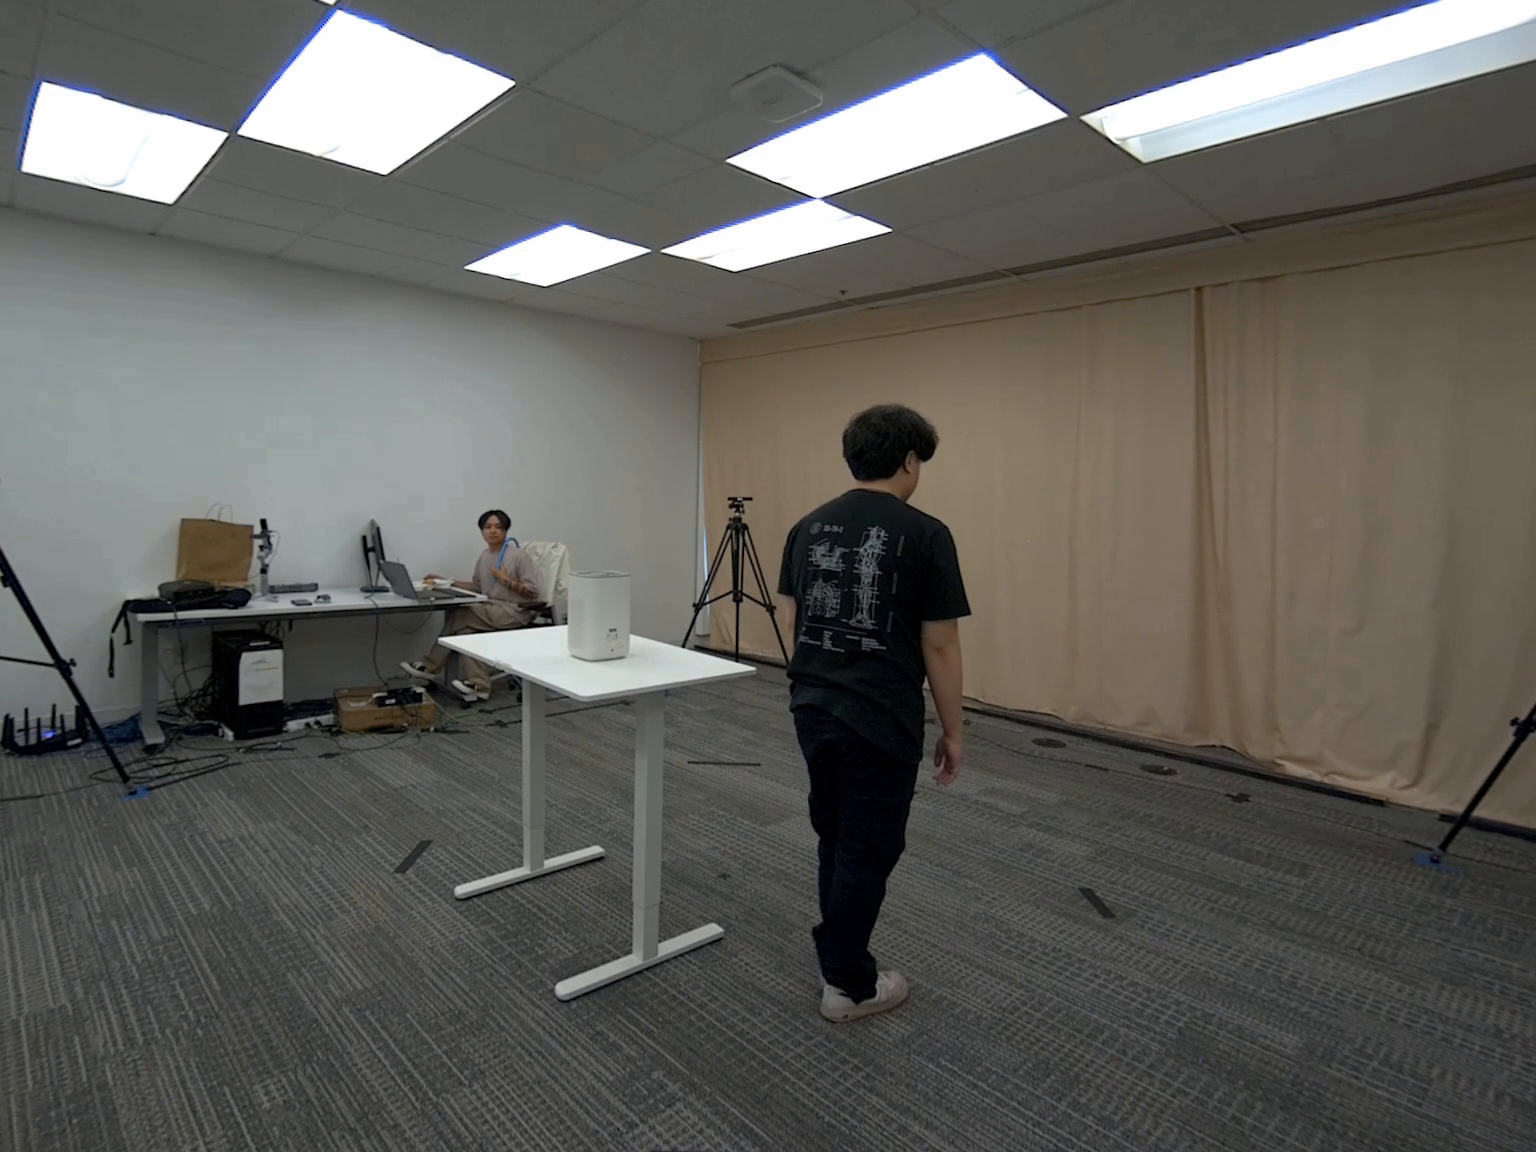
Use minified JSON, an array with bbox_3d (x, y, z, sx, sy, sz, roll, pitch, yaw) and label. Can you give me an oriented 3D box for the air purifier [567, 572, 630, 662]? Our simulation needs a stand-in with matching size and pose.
[{"bbox_3d":[-0.539,0.121,2.661,0.167,0.264,0.176,-3,5,-42],"label":"air purifier"}]
